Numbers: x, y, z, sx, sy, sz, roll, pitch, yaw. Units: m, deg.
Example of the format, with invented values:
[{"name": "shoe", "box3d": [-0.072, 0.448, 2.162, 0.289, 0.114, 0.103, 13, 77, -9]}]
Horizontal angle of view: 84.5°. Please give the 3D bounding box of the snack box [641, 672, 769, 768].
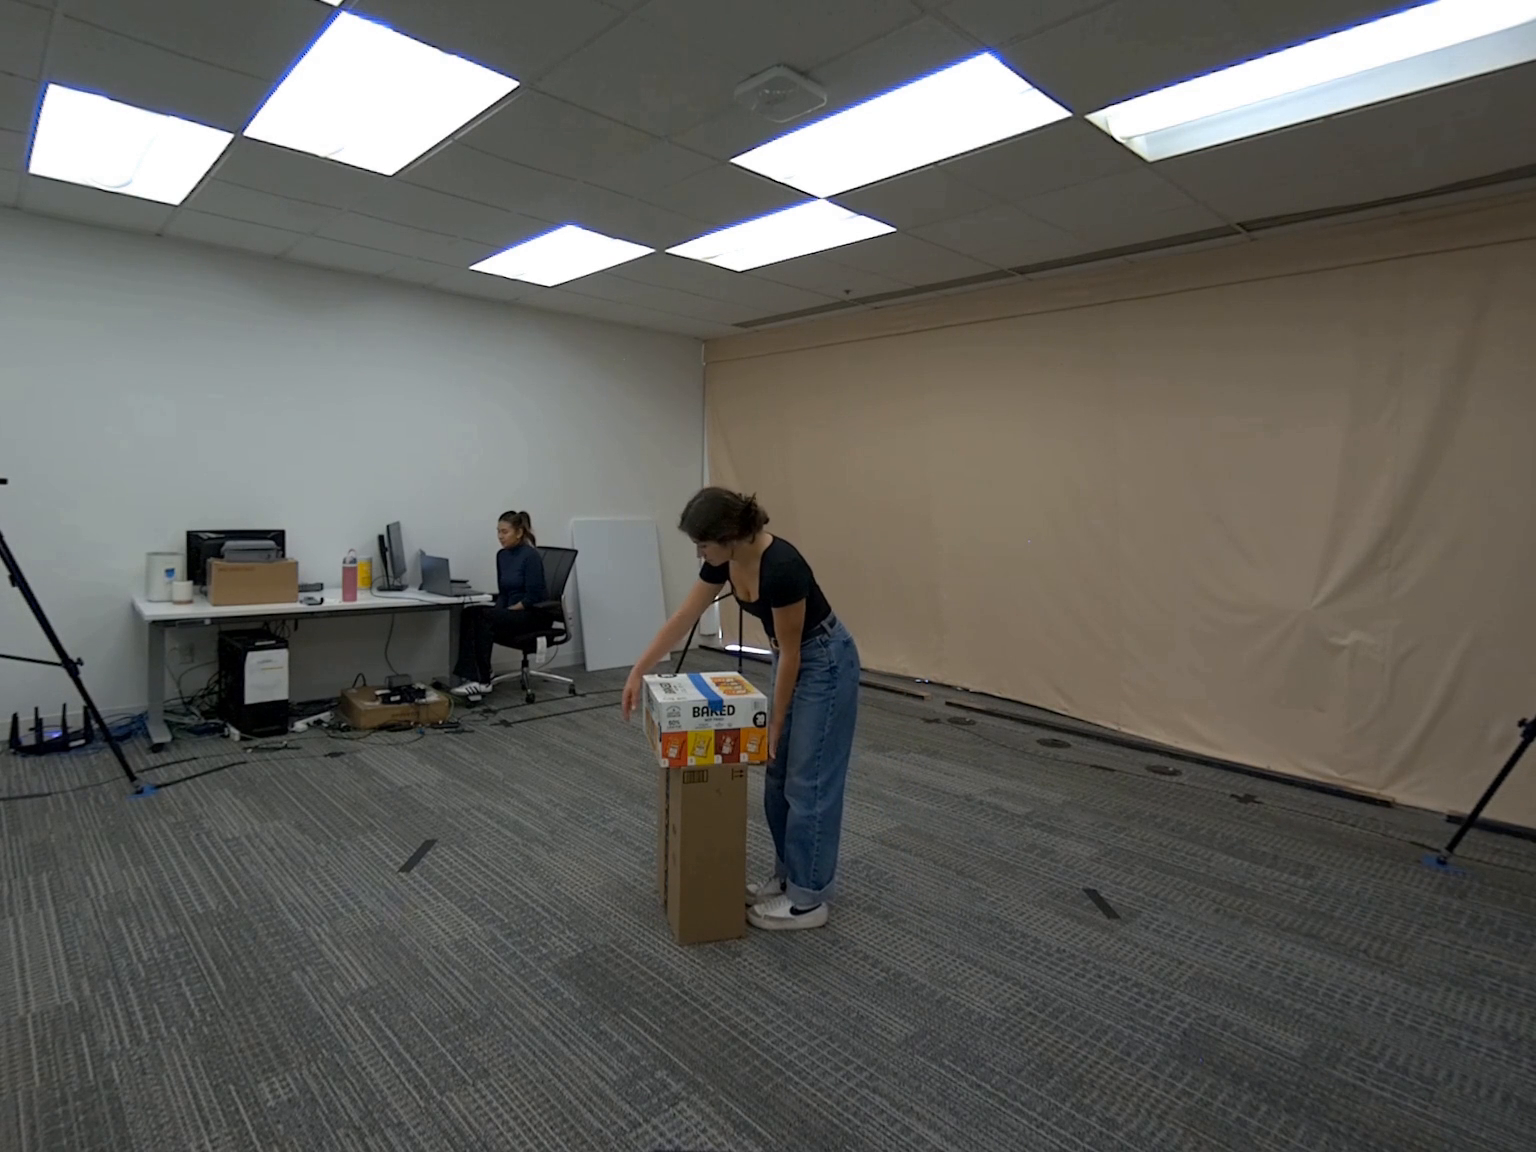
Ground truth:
[{"name": "snack box", "box3d": [-0.224, 0.464, 2.795, 0.336, 0.205, 0.411, 0, 5, -15]}]
